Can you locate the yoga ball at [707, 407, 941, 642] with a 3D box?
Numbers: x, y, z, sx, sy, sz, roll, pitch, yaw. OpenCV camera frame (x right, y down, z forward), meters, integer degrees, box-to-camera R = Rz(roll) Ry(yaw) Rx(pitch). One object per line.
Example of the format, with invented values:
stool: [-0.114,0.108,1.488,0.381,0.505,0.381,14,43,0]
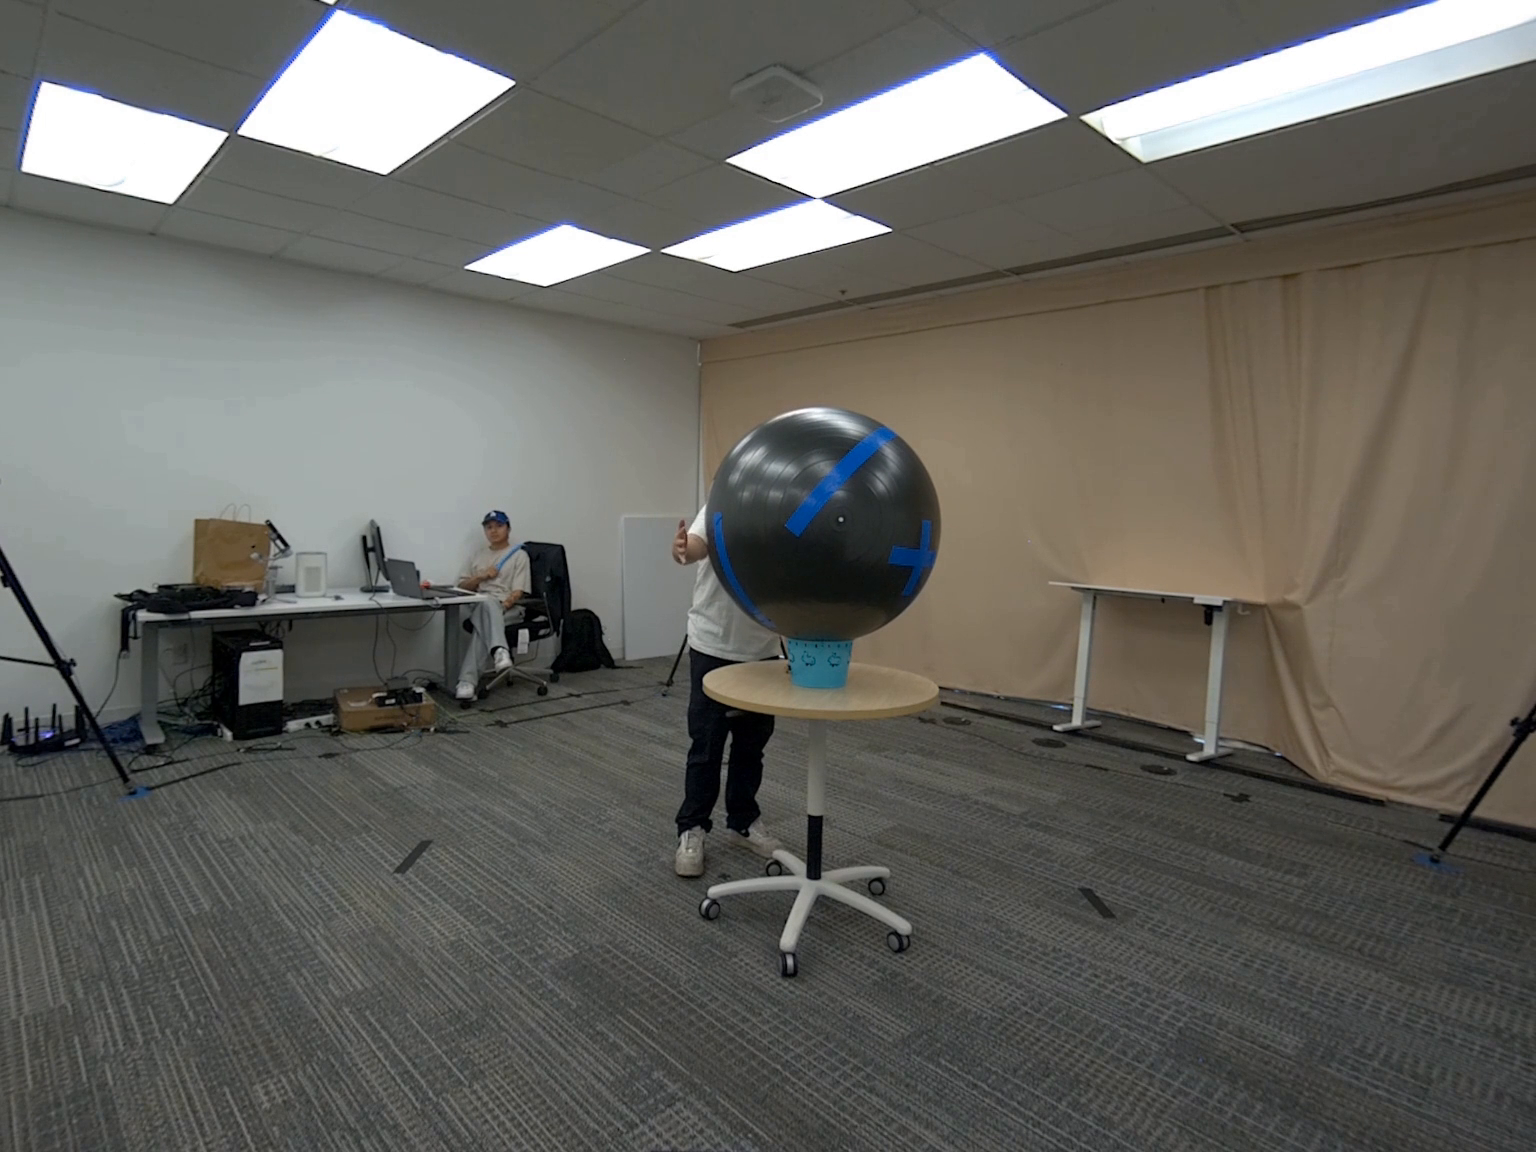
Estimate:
yoga ball: [0.170,-0.161,2.726,0.757,0.756,0.761,1,4,-1]
